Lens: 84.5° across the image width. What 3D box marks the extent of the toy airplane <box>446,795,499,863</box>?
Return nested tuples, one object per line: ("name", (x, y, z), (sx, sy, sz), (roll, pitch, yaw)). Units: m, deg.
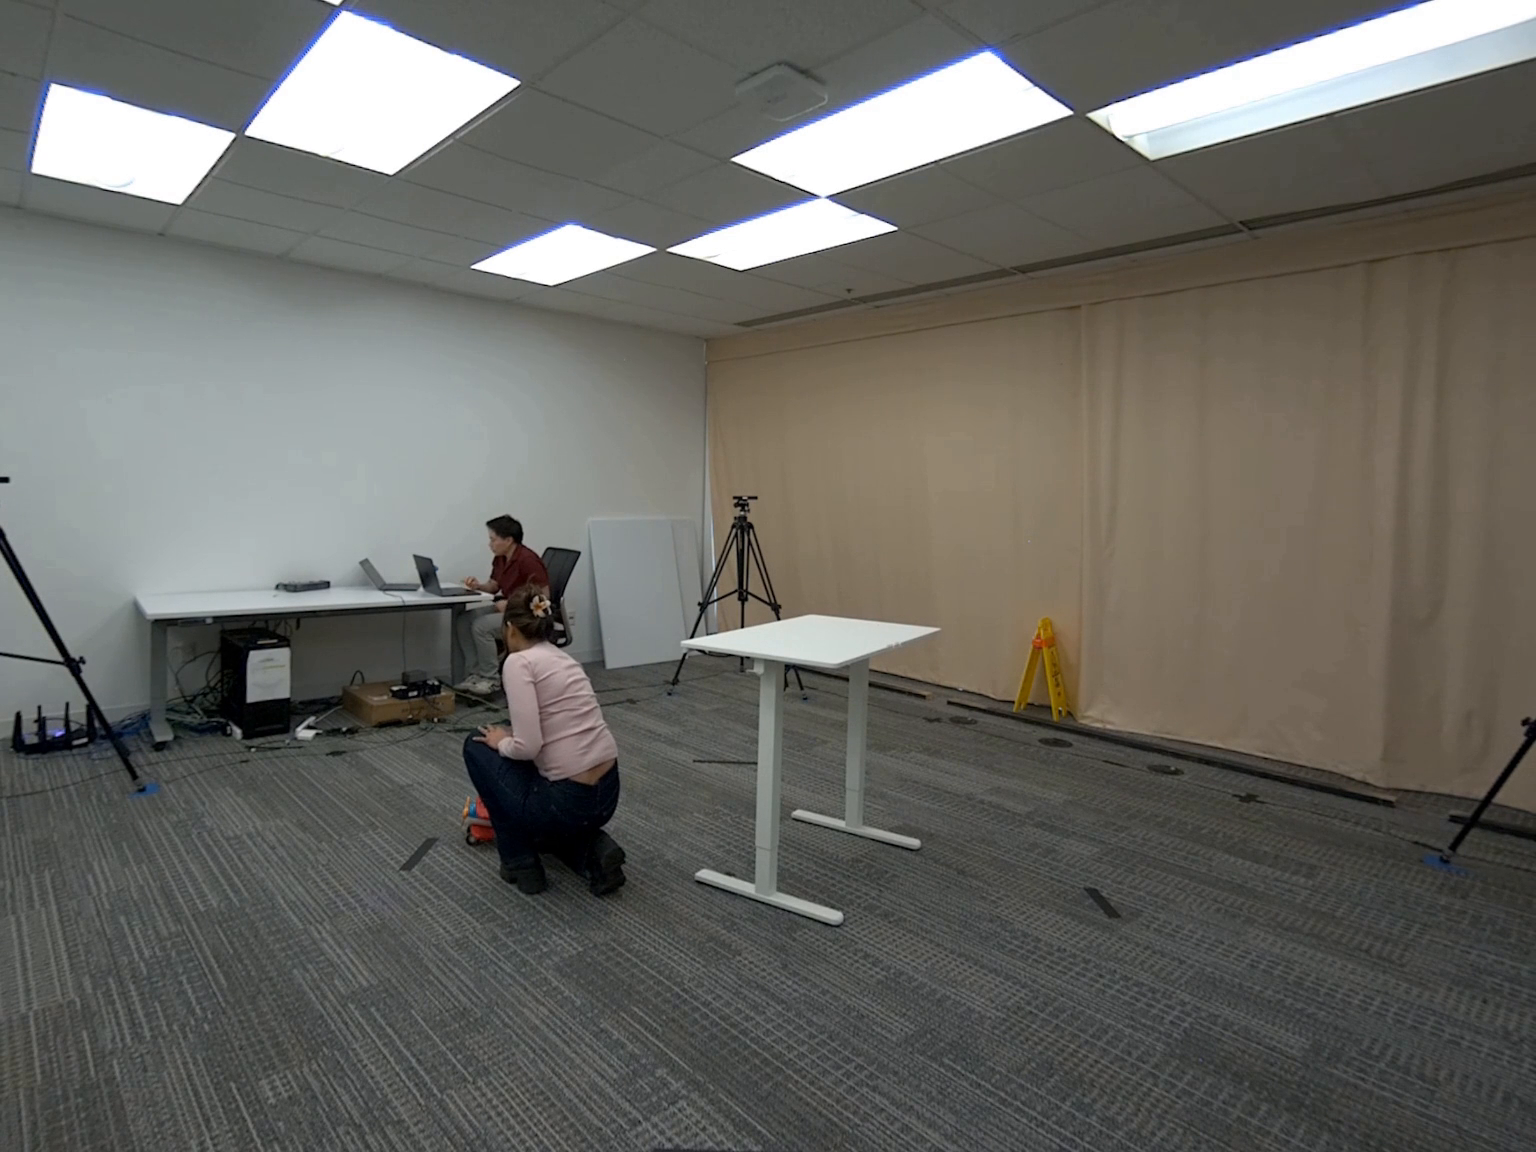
("toy airplane", (-1.107, 0.987, 3.387), (0.253, 0.156, 0.257), (-5, 8, -44))
